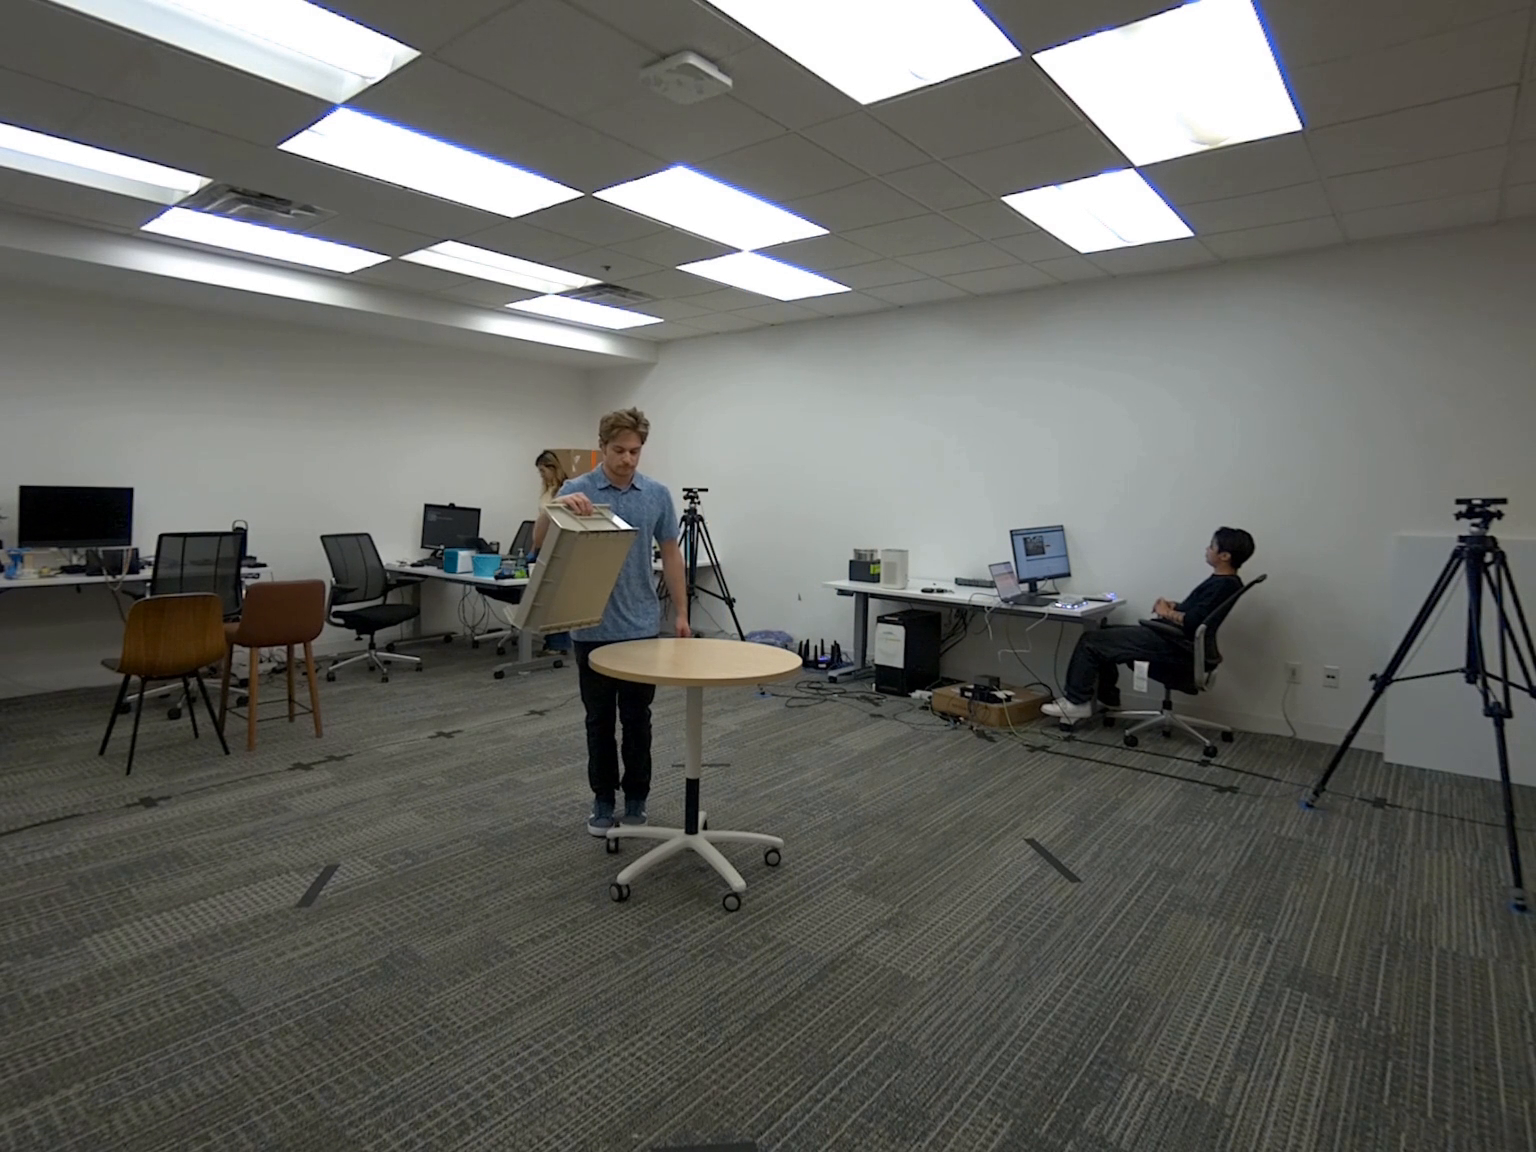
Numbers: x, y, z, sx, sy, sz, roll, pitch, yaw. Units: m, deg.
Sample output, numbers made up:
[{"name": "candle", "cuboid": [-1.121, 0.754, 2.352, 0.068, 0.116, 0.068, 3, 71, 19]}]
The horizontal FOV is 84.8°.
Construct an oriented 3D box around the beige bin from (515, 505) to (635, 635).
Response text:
[{"name": "beige bin", "cuboid": [-0.718, -0.033, 3.019, 0.196, 0.419, 0.366, 35, 20, 28]}]
